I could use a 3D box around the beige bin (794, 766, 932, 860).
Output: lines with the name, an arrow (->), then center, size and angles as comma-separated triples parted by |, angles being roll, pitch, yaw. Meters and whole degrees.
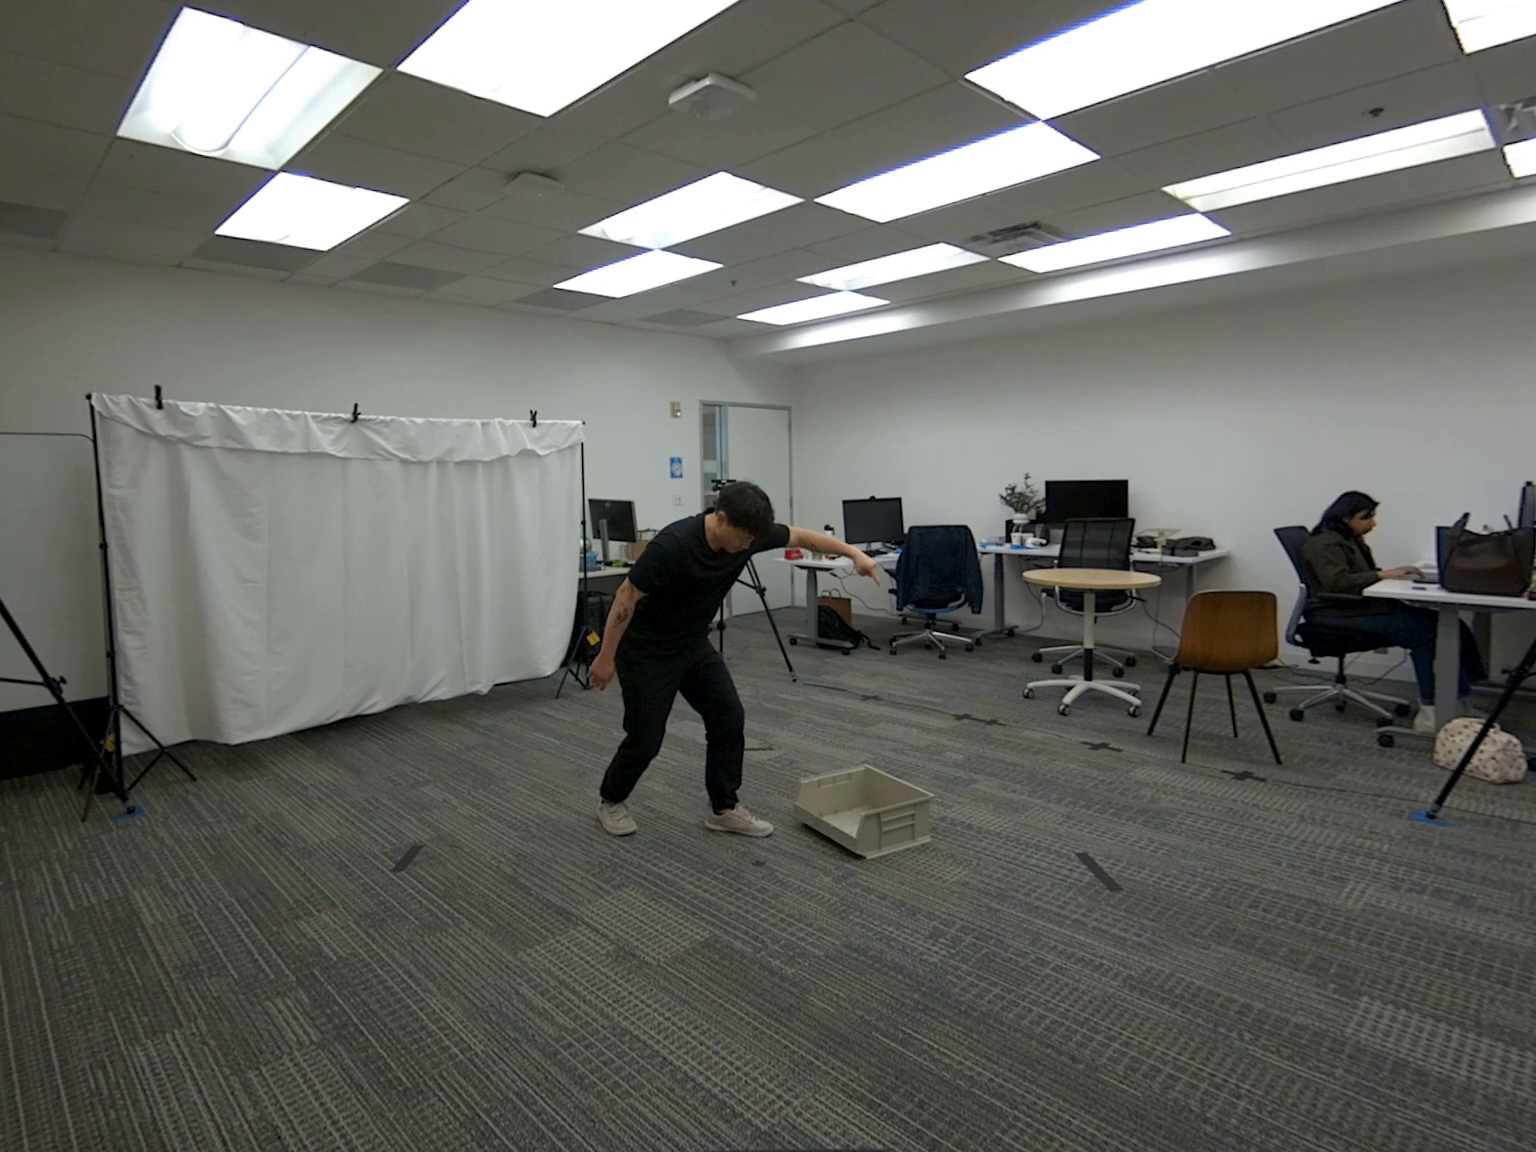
beige bin -> 0.368, 0.922, 3.361 | 0.368, 0.188, 0.434 | -4, 6, -30
